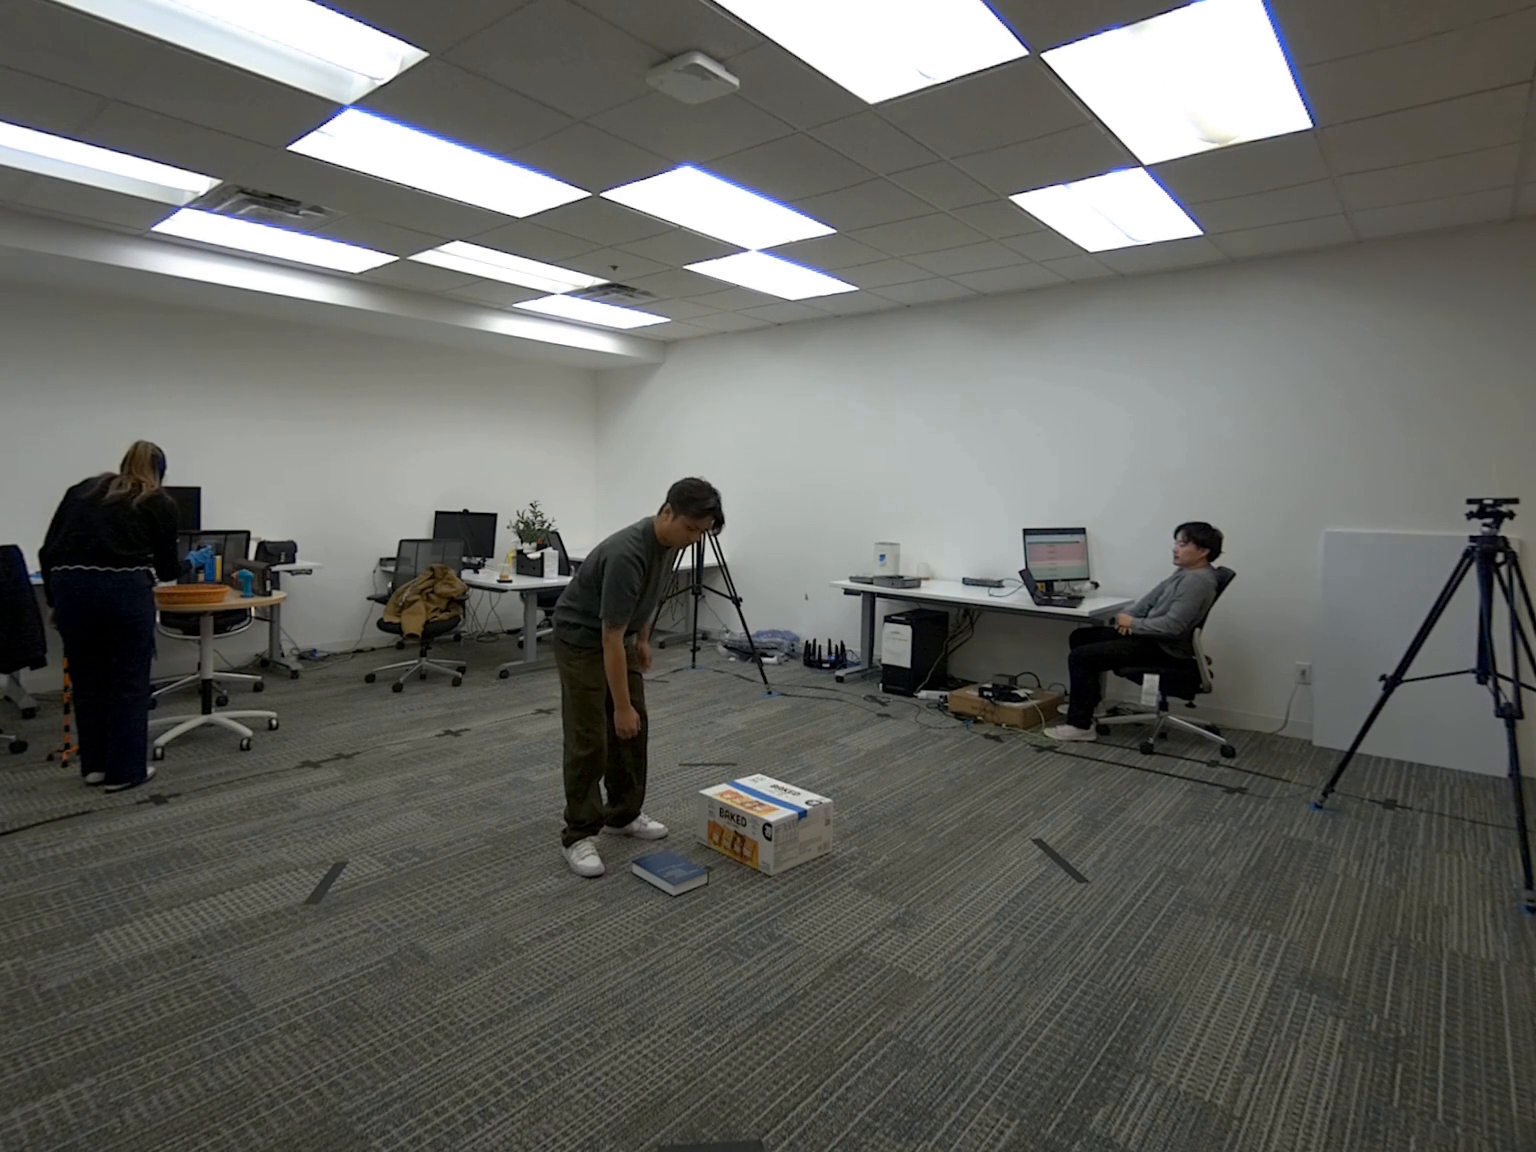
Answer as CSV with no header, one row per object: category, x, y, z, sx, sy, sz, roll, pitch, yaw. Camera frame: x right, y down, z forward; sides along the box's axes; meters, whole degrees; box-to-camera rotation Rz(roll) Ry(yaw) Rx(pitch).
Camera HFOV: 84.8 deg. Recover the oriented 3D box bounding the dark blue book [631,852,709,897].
dark blue book,-0.362,1.052,3.018,0.158,0.045,0.253,-4,7,-44
